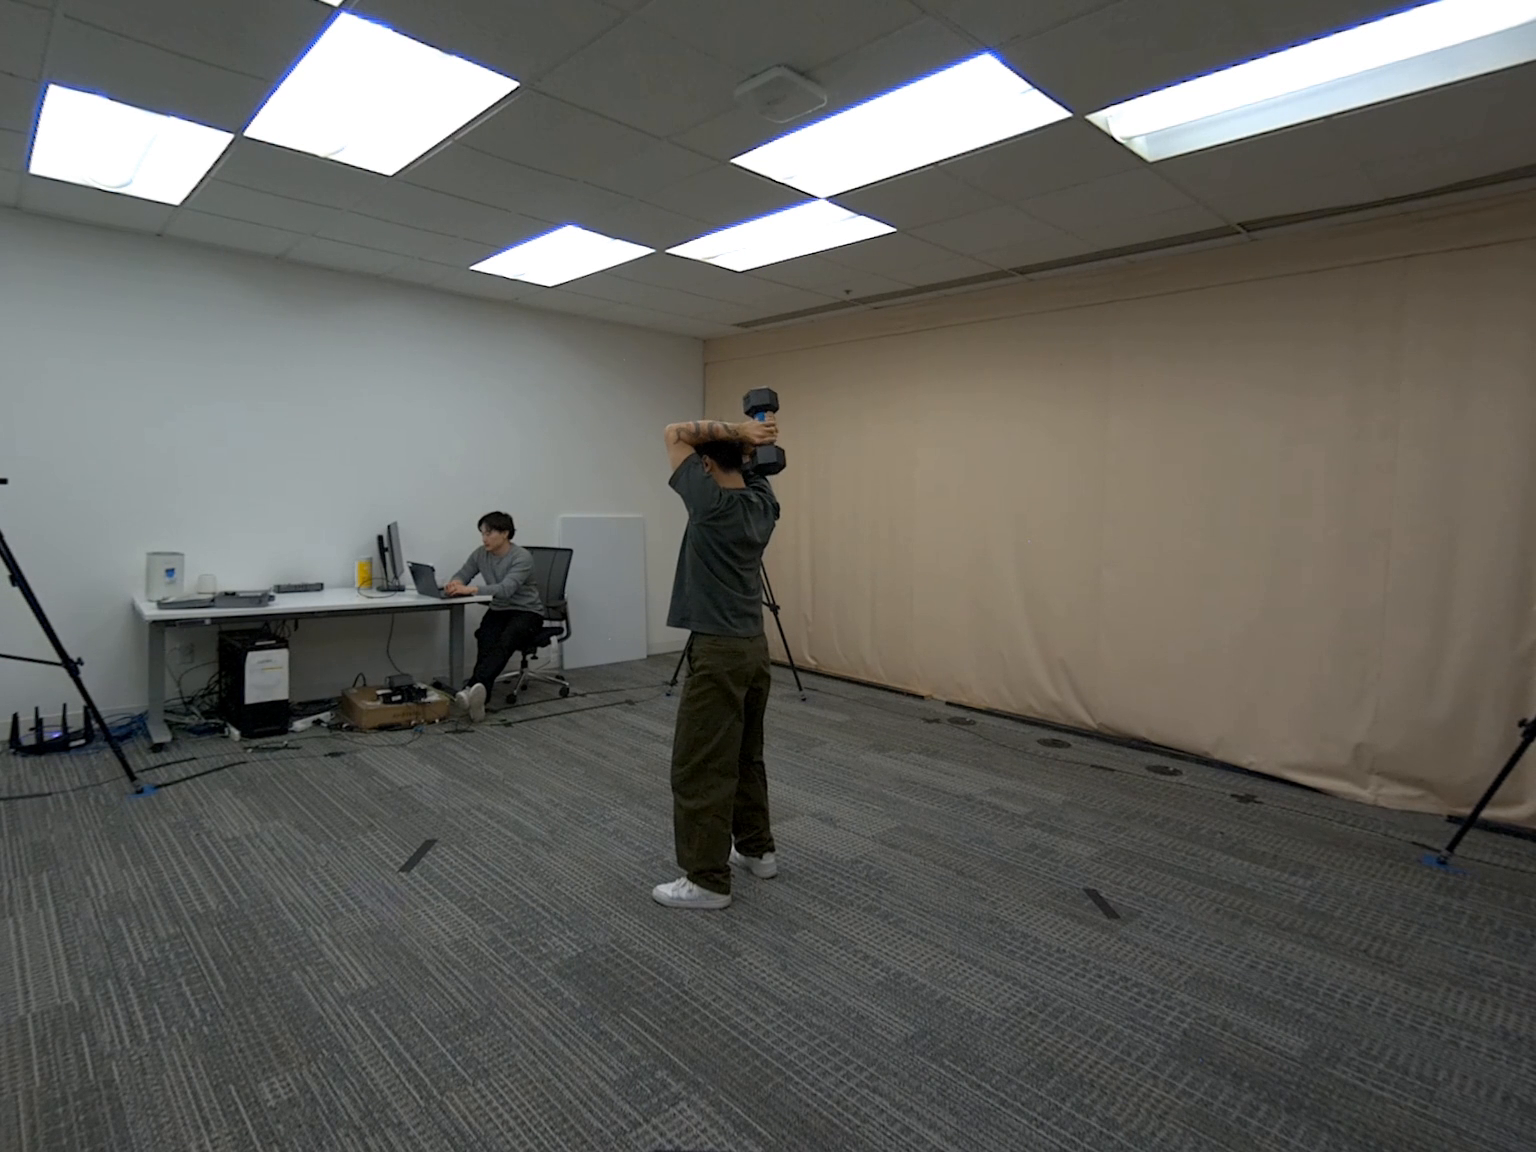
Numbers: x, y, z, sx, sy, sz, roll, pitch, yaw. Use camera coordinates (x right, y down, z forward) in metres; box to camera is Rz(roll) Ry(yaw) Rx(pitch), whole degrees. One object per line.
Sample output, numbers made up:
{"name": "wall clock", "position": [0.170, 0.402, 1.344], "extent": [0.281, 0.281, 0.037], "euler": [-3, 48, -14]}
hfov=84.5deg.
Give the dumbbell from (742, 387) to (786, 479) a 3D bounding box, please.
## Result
{"name": "dumbbell", "position": [-0.023, -0.499, 2.860], "extent": [0.107, 0.298, 0.123], "euler": [2, -20, -24]}
